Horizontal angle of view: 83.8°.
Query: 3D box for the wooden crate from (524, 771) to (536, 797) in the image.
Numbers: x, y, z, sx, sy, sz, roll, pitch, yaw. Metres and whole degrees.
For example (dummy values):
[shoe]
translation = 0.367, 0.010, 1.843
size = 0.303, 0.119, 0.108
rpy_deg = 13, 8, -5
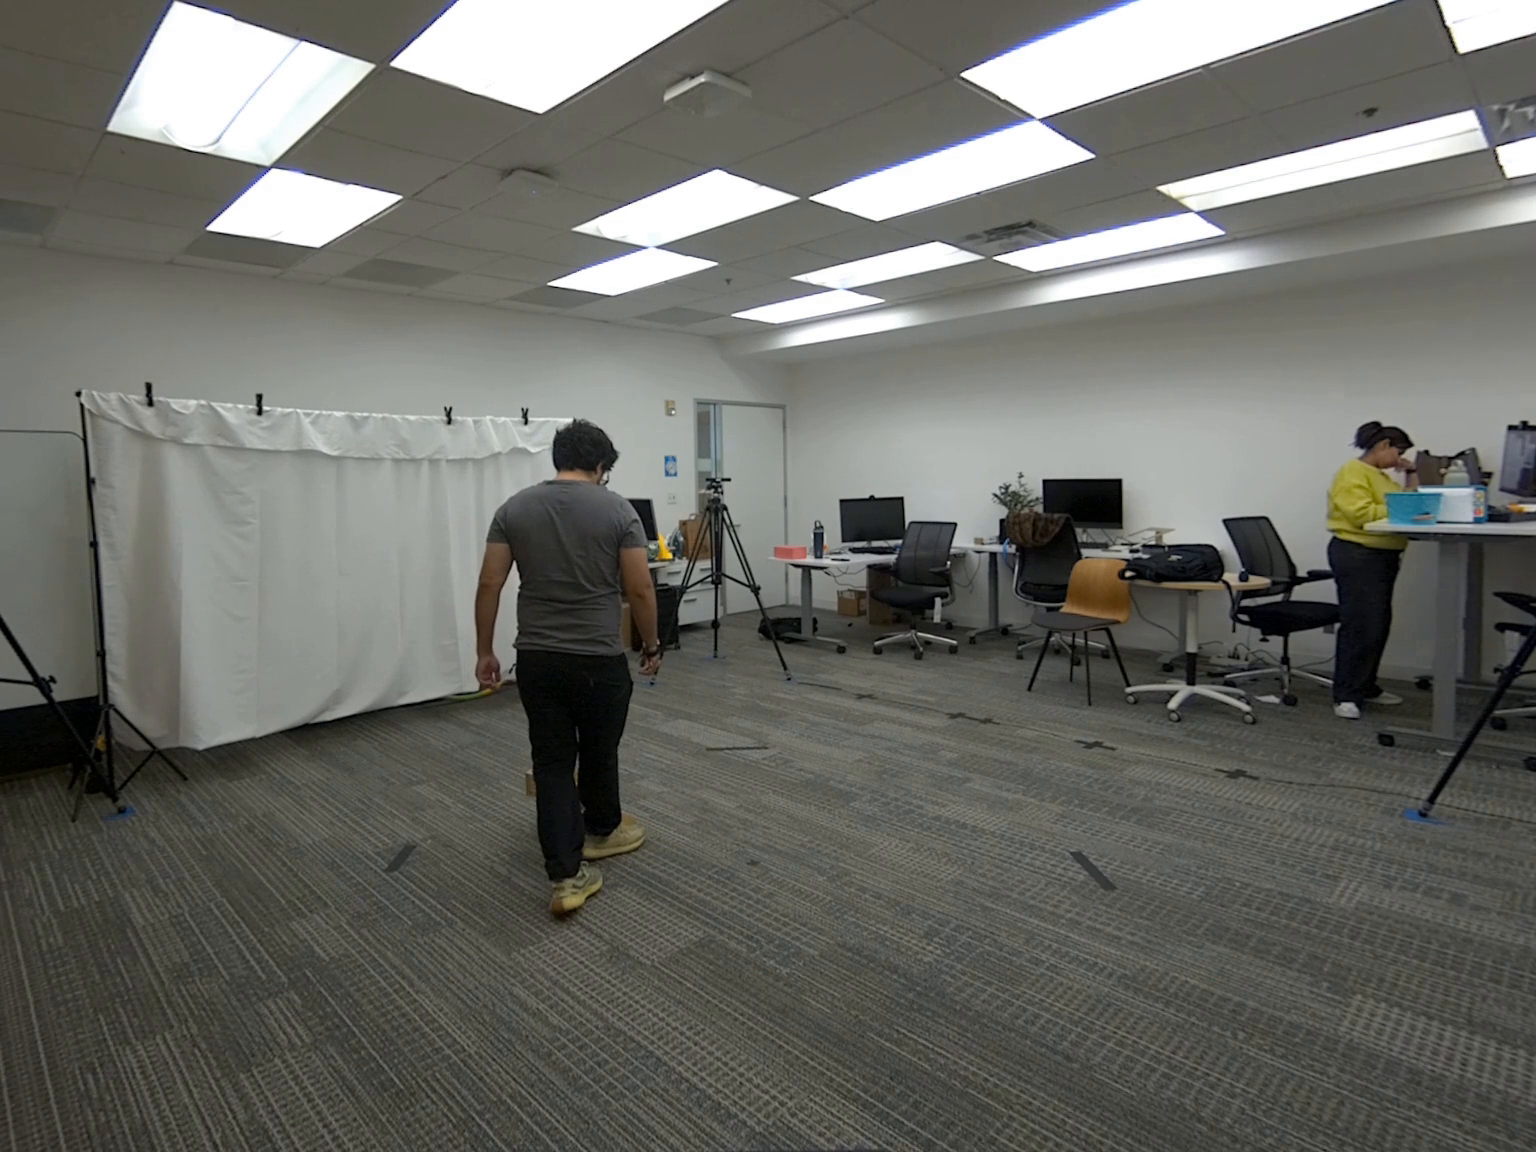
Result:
[wooden crate]
translation = -0.742, 0.891, 3.389
size = 0.334, 0.272, 0.294
rpy_deg = 3, 7, 39
